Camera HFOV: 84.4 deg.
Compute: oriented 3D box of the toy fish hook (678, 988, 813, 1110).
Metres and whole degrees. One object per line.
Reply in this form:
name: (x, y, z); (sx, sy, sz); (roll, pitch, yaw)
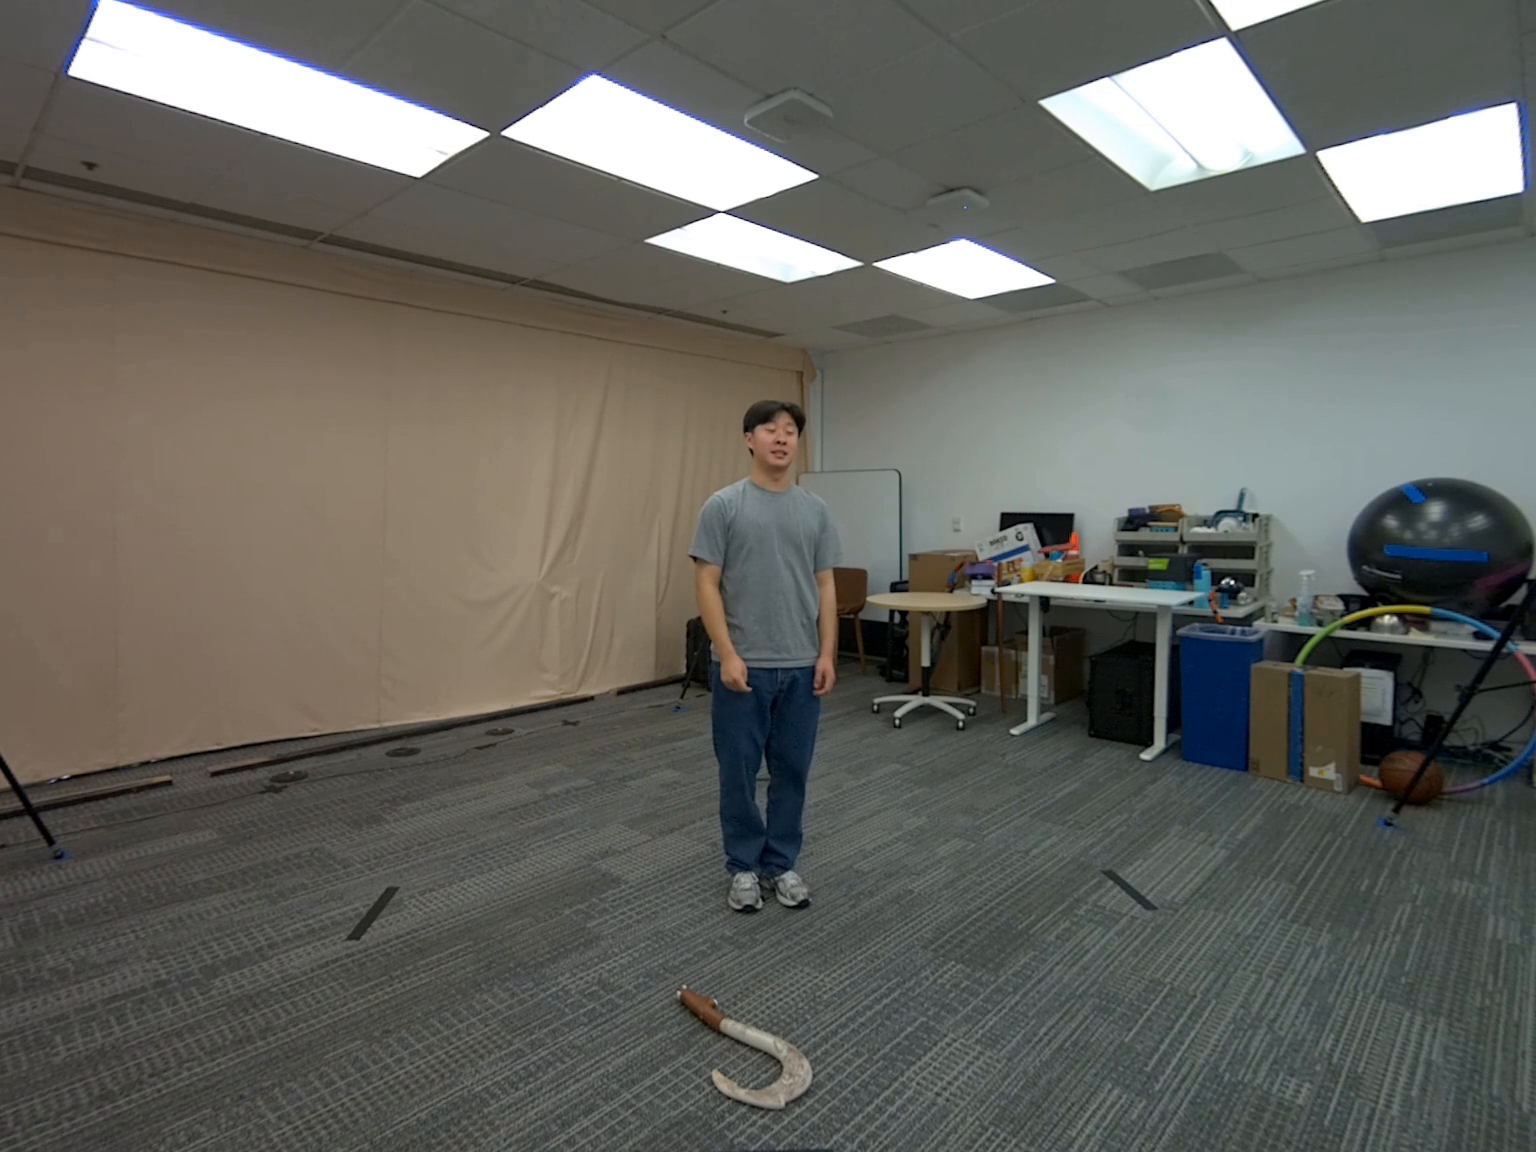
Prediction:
toy fish hook: (-0.111, 1.190, 2.149); (0.217, 0.048, 0.523); (-2, 5, -42)
